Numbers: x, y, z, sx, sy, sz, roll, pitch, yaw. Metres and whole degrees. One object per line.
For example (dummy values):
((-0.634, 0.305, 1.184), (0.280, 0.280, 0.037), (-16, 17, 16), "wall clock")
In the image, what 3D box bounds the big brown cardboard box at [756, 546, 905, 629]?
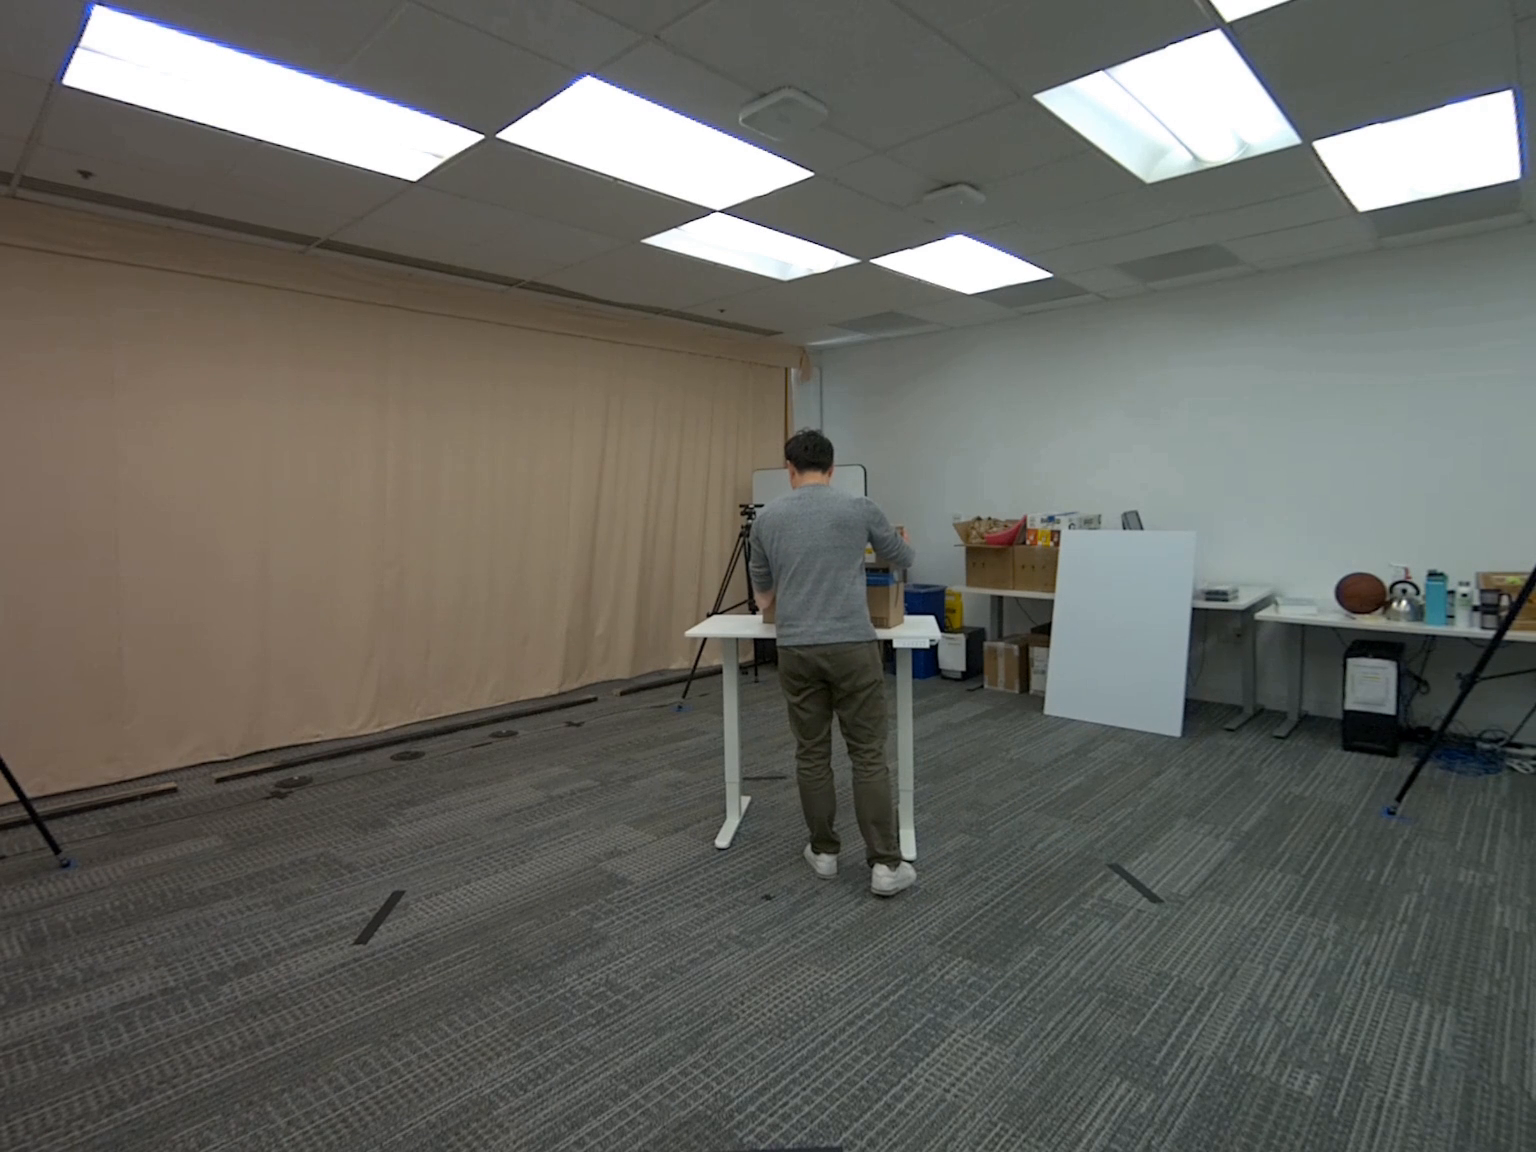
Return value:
((0.282, -0.005, 3.591), (0.605, 0.417, 0.227), (1, 3, 28), "big brown cardboard box")
